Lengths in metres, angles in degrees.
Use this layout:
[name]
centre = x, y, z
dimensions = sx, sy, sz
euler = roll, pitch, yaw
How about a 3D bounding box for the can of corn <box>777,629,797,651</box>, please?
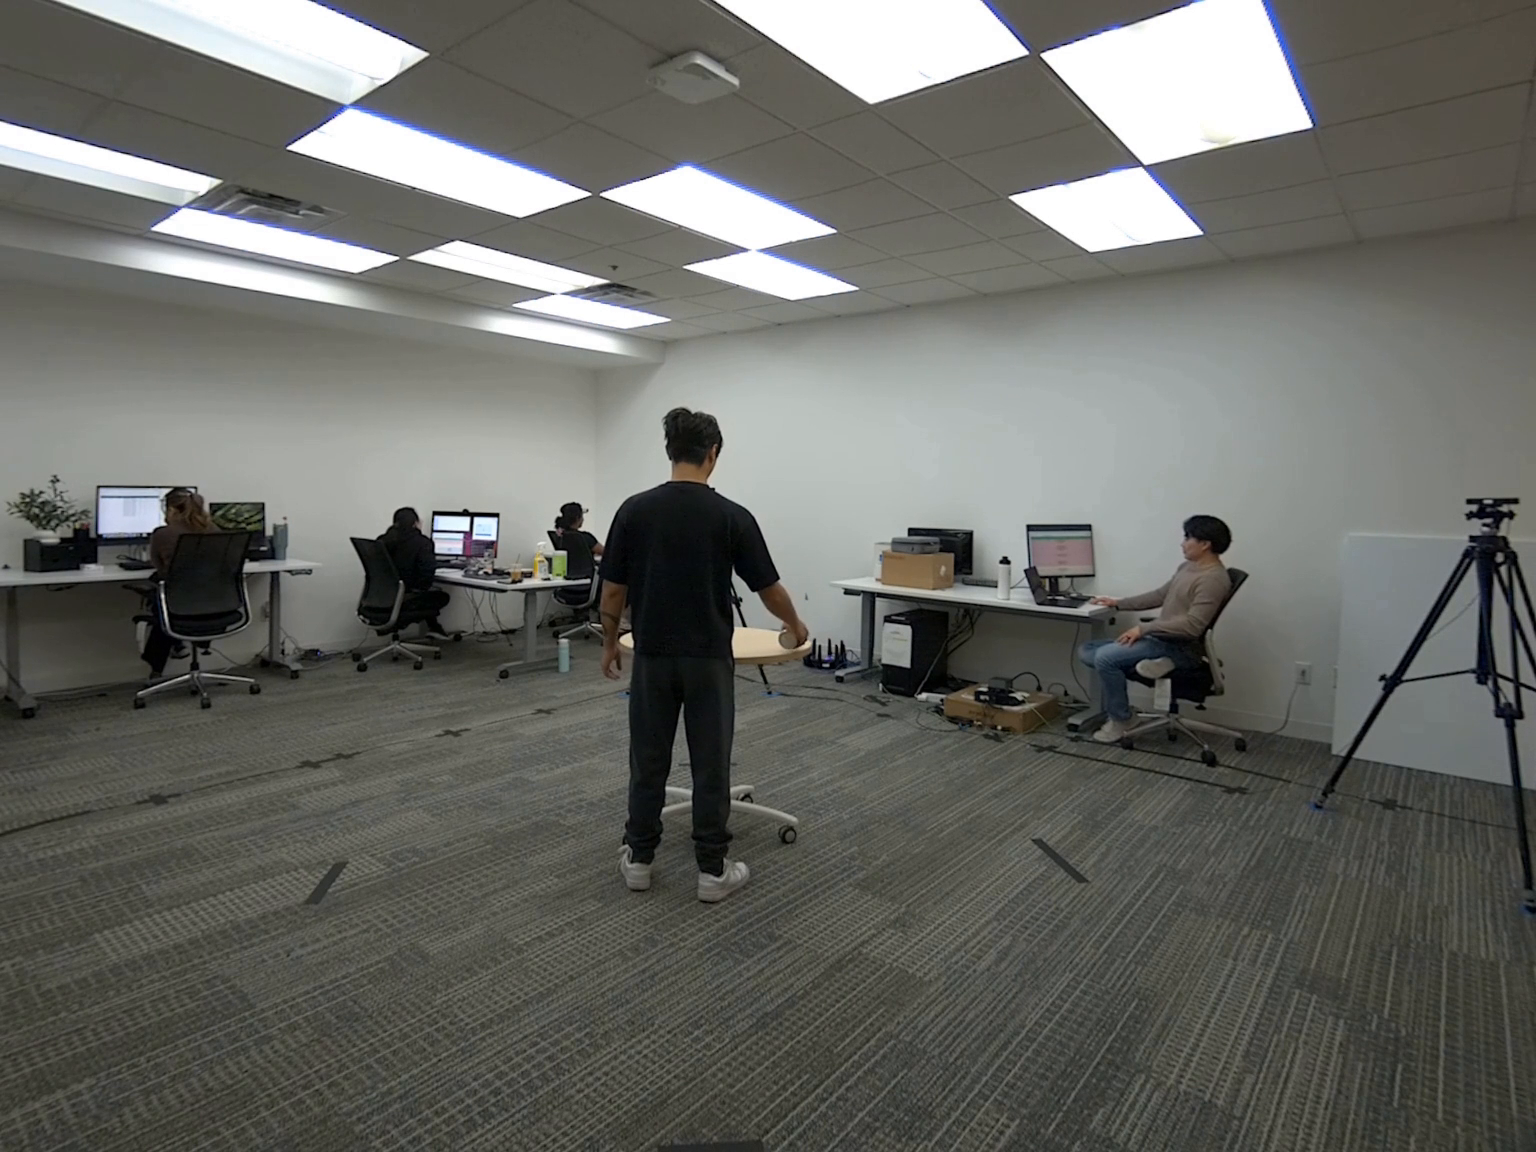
[can of corn]
centre = 0.080, 0.221, 3.223
dimensions = 0.075, 0.073, 0.111
euler = 1, 11, 7
